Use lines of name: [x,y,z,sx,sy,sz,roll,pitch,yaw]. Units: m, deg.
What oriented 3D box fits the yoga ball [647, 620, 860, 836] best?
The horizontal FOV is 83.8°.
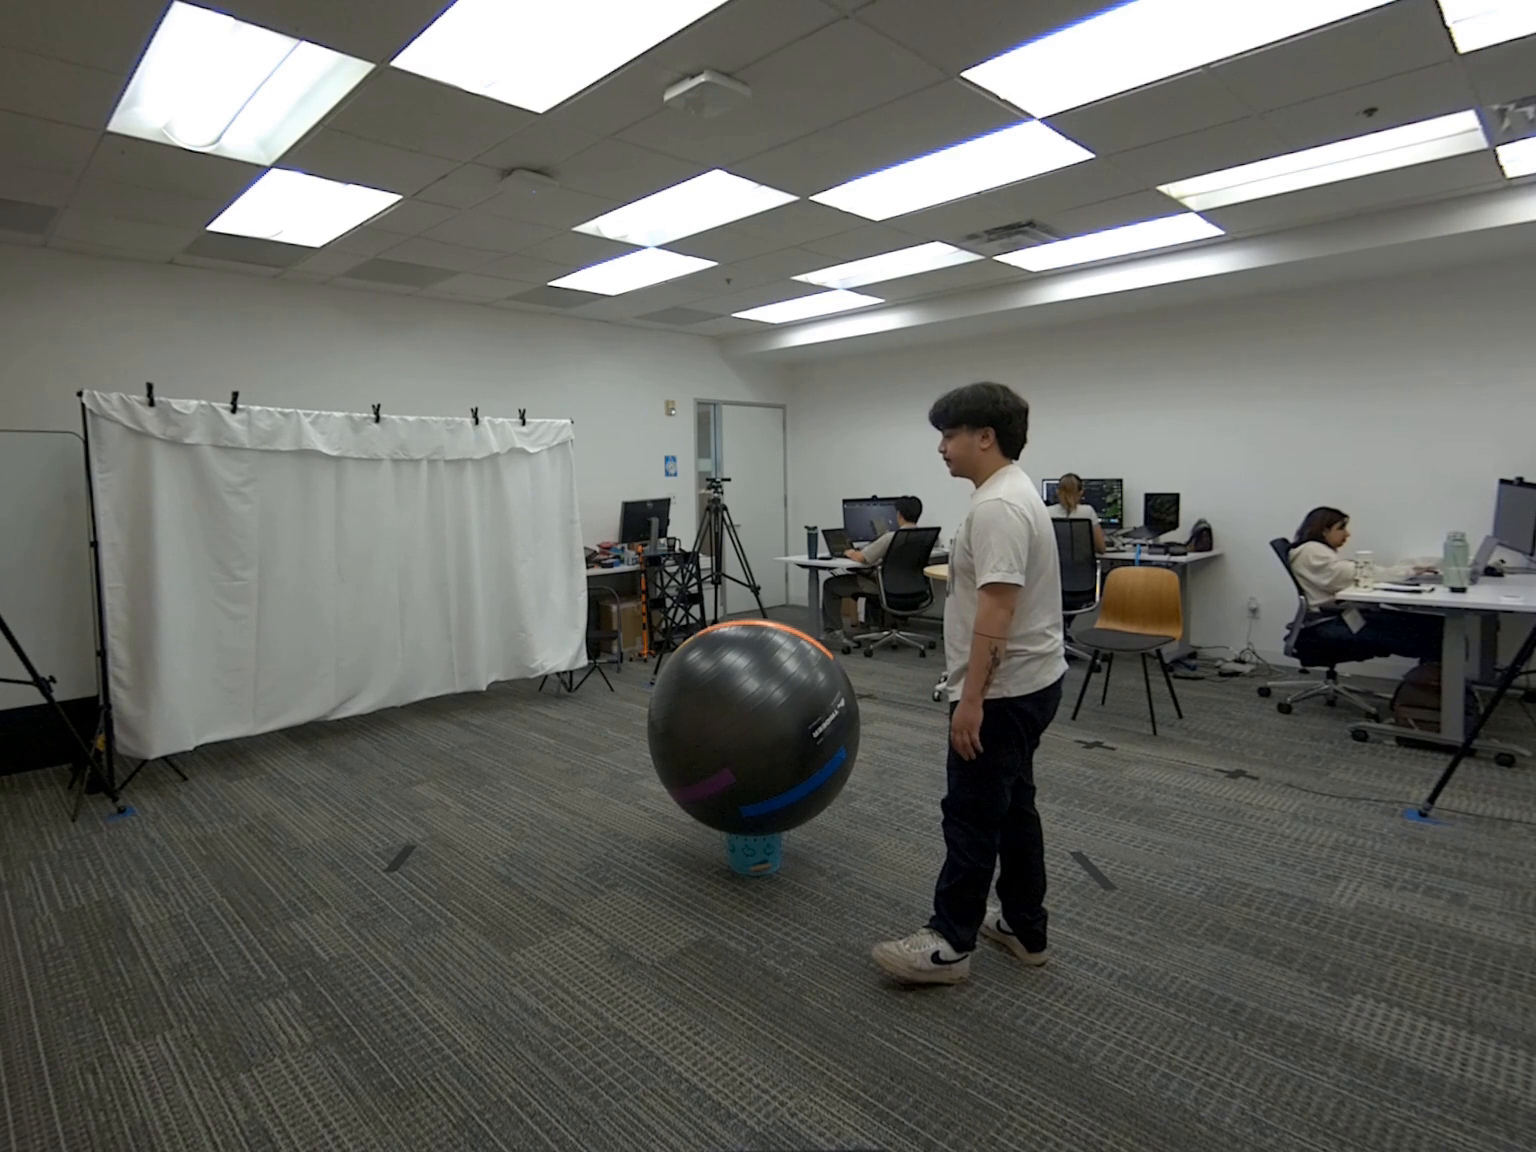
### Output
yoga ball: [-0.061,0.538,3.063,0.757,0.755,0.762,-1,5,-2]
